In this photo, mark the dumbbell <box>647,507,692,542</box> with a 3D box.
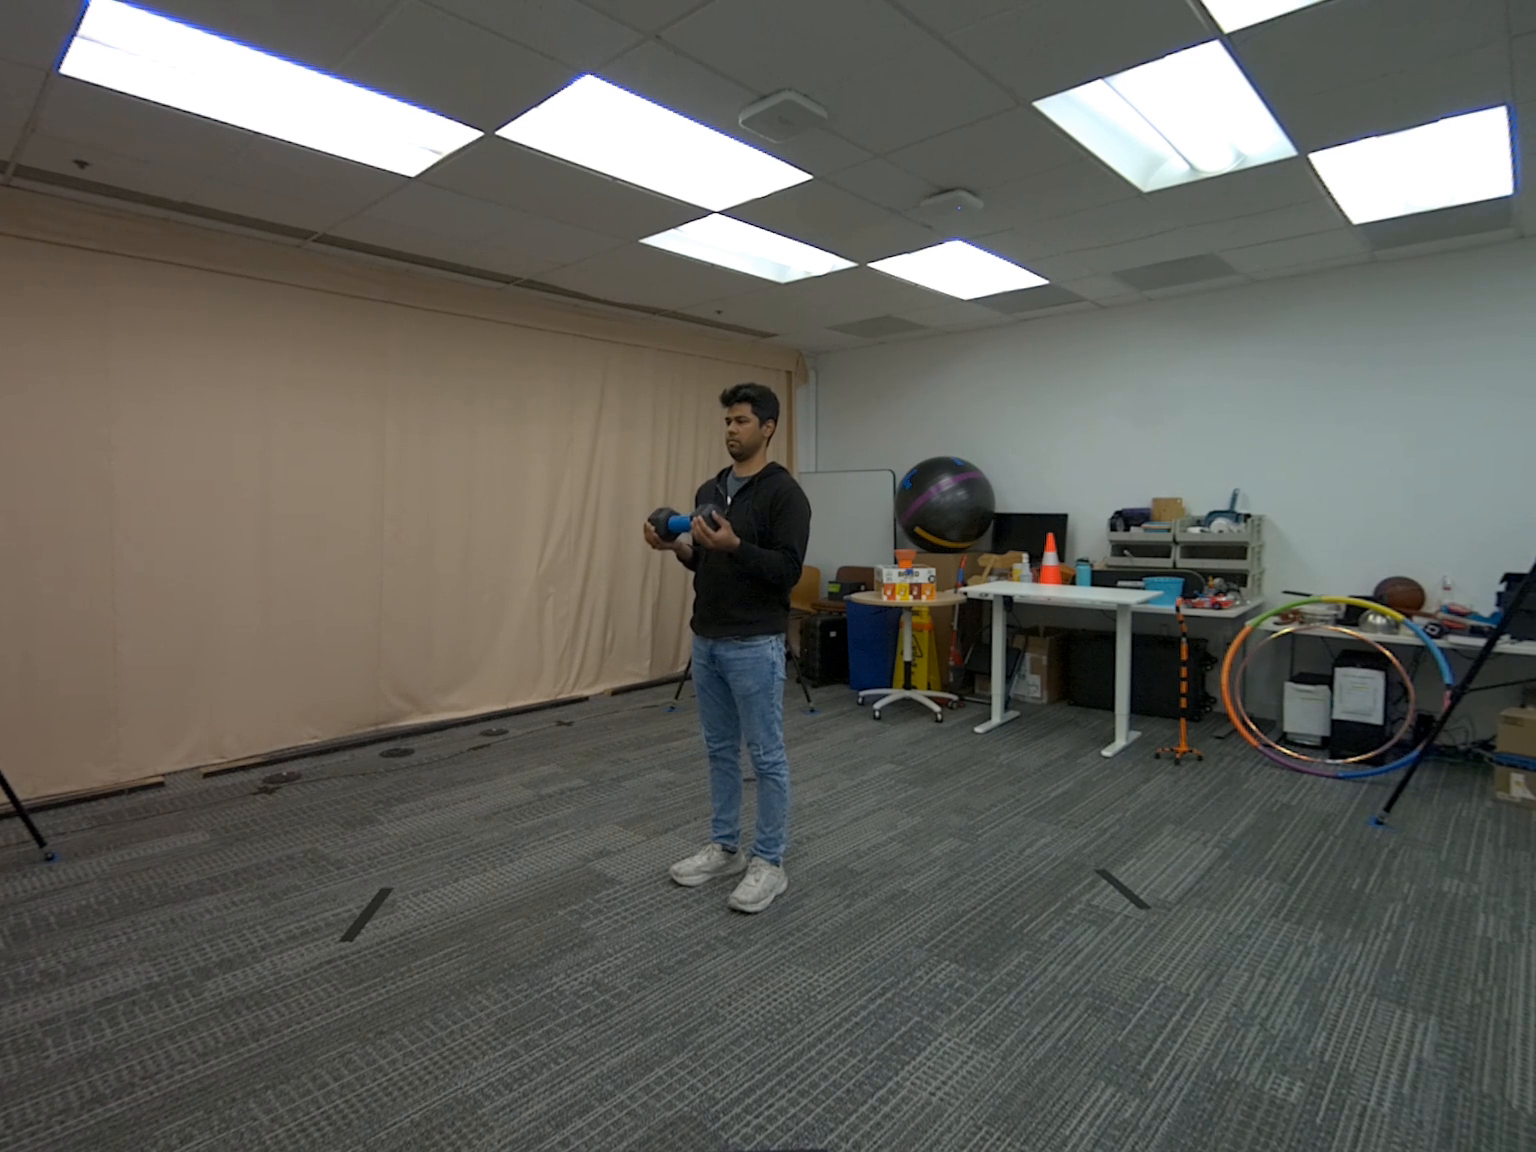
[{"bbox_3d":[-0.268,-0.171,2.868,0.303,0.106,0.122,1,40,44],"label":"dumbbell"}]
